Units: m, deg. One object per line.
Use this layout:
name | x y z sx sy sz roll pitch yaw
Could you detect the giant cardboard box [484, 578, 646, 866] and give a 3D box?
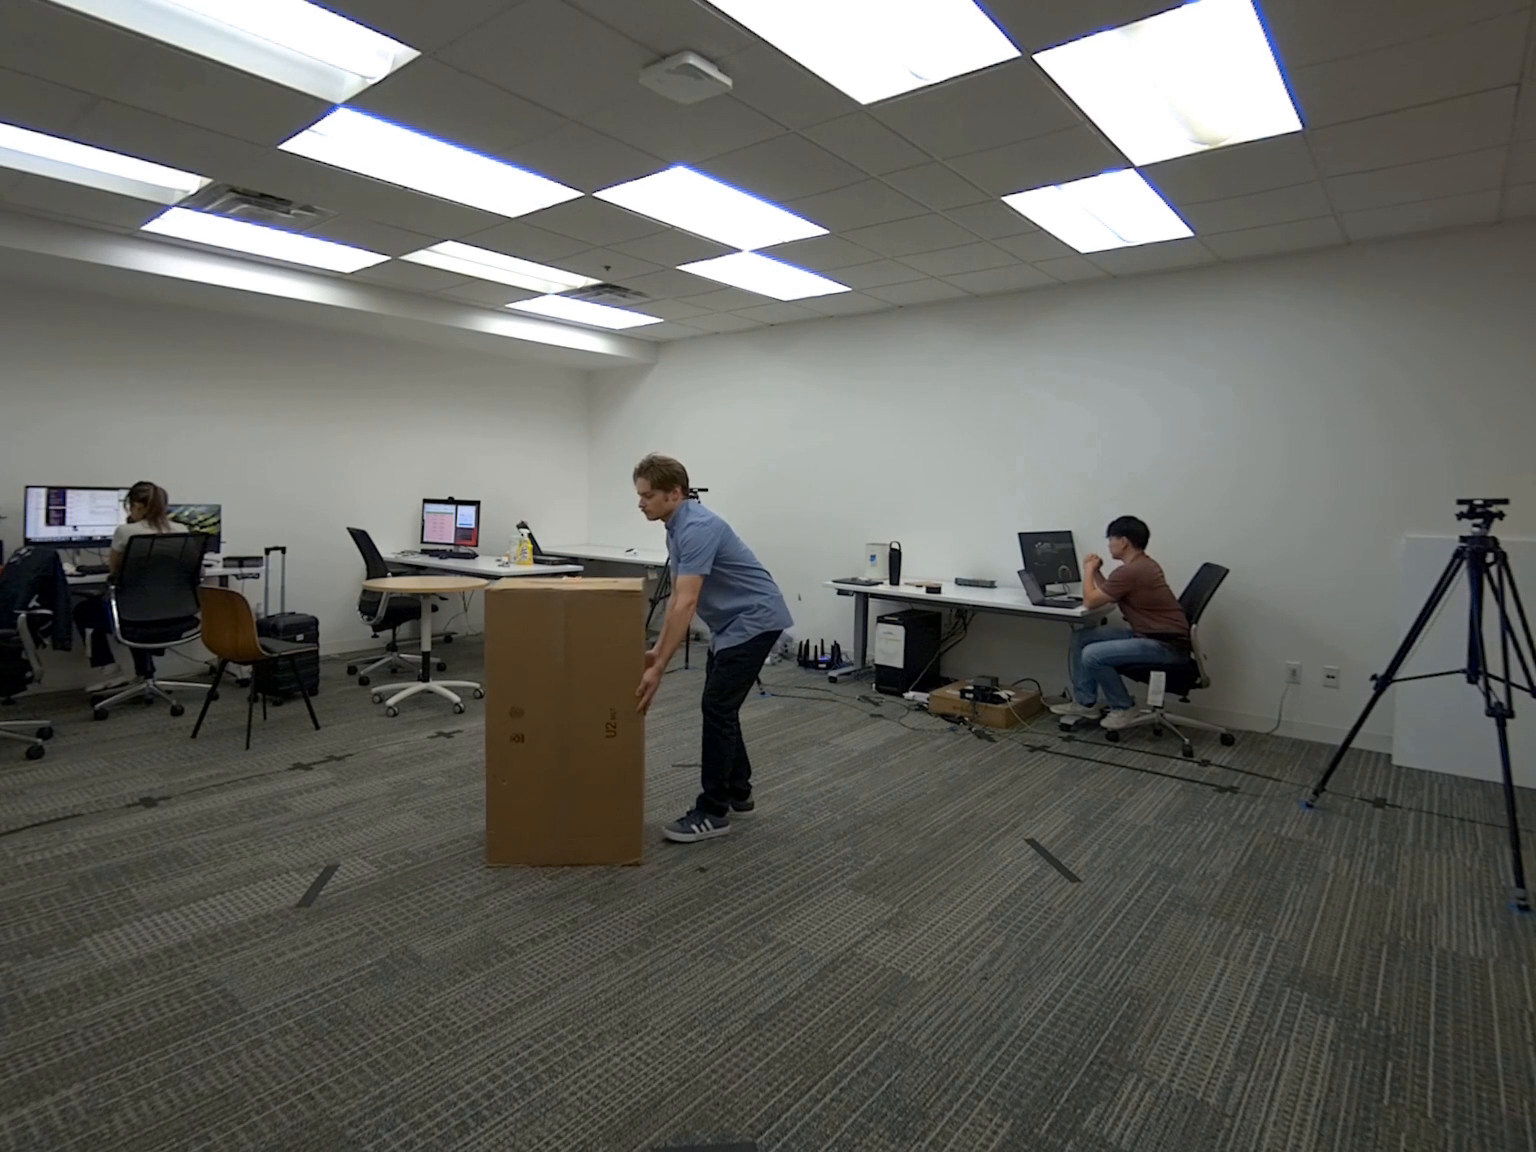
giant cardboard box | -0.781 0.535 3.300 0.575 1.023 0.429 0 3 -5
